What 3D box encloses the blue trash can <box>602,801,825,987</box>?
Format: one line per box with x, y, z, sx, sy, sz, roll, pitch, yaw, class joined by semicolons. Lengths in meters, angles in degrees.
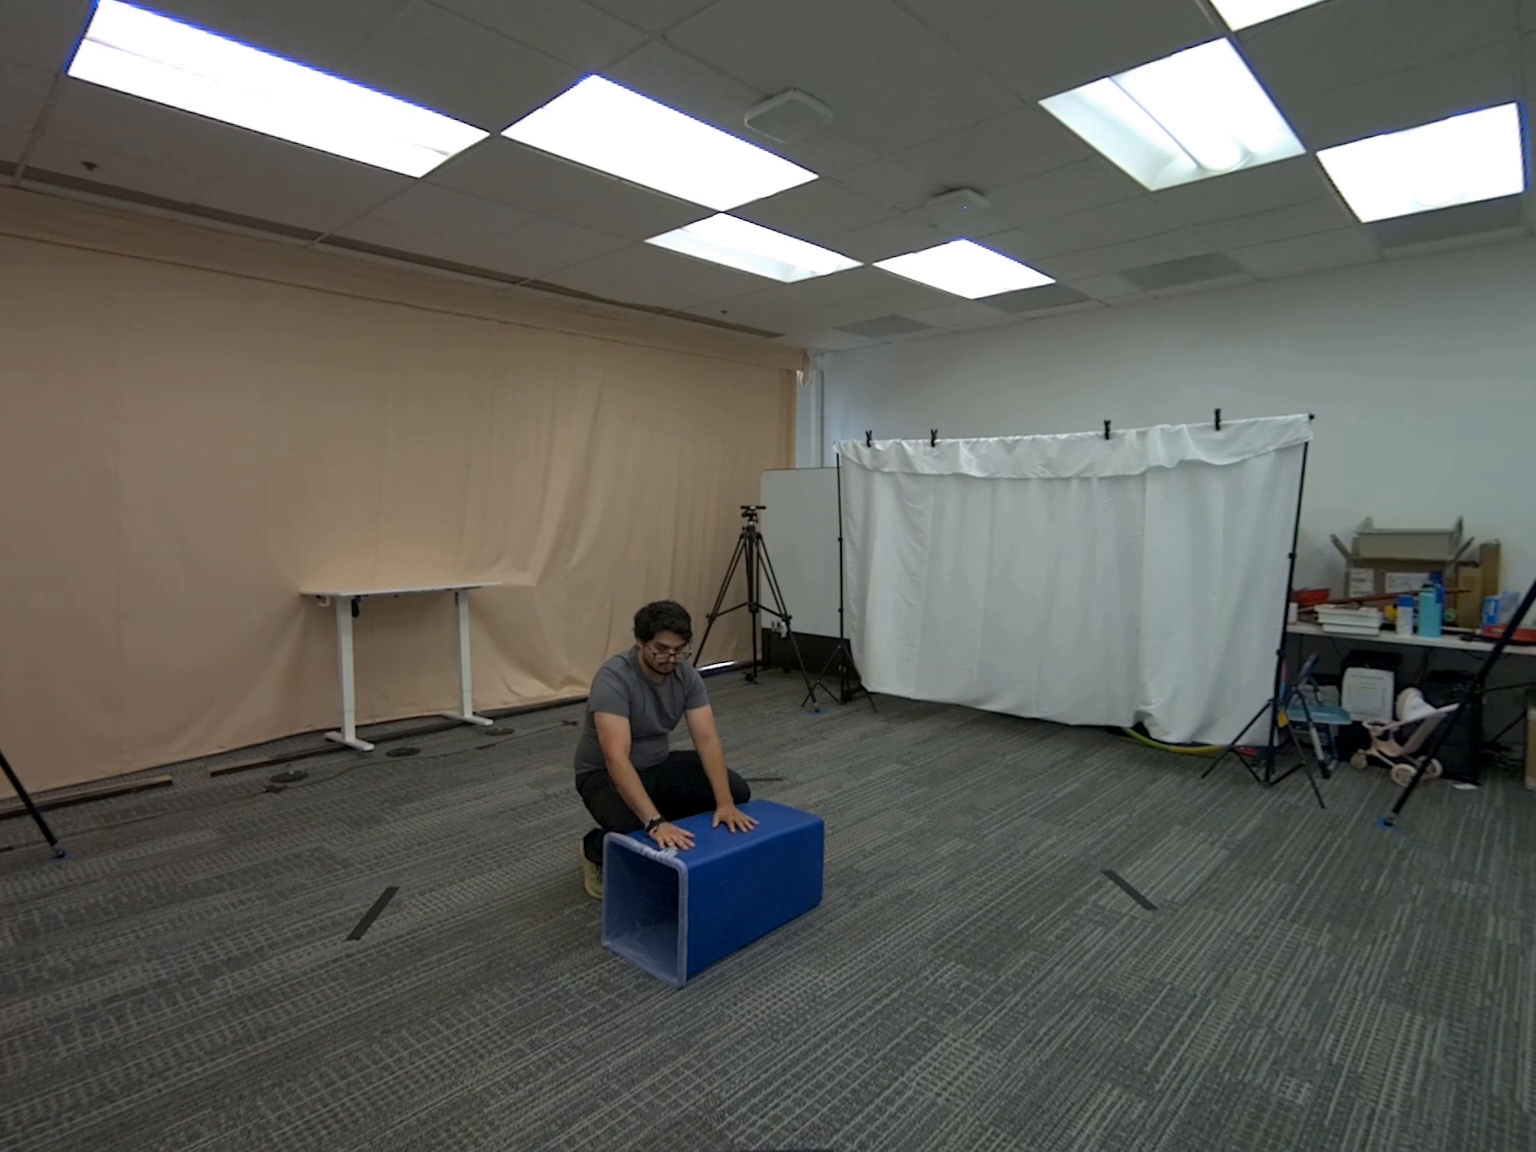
-0.142;0.990;2.783;0.386;0.377;0.691;3;4;44;blue trash can
